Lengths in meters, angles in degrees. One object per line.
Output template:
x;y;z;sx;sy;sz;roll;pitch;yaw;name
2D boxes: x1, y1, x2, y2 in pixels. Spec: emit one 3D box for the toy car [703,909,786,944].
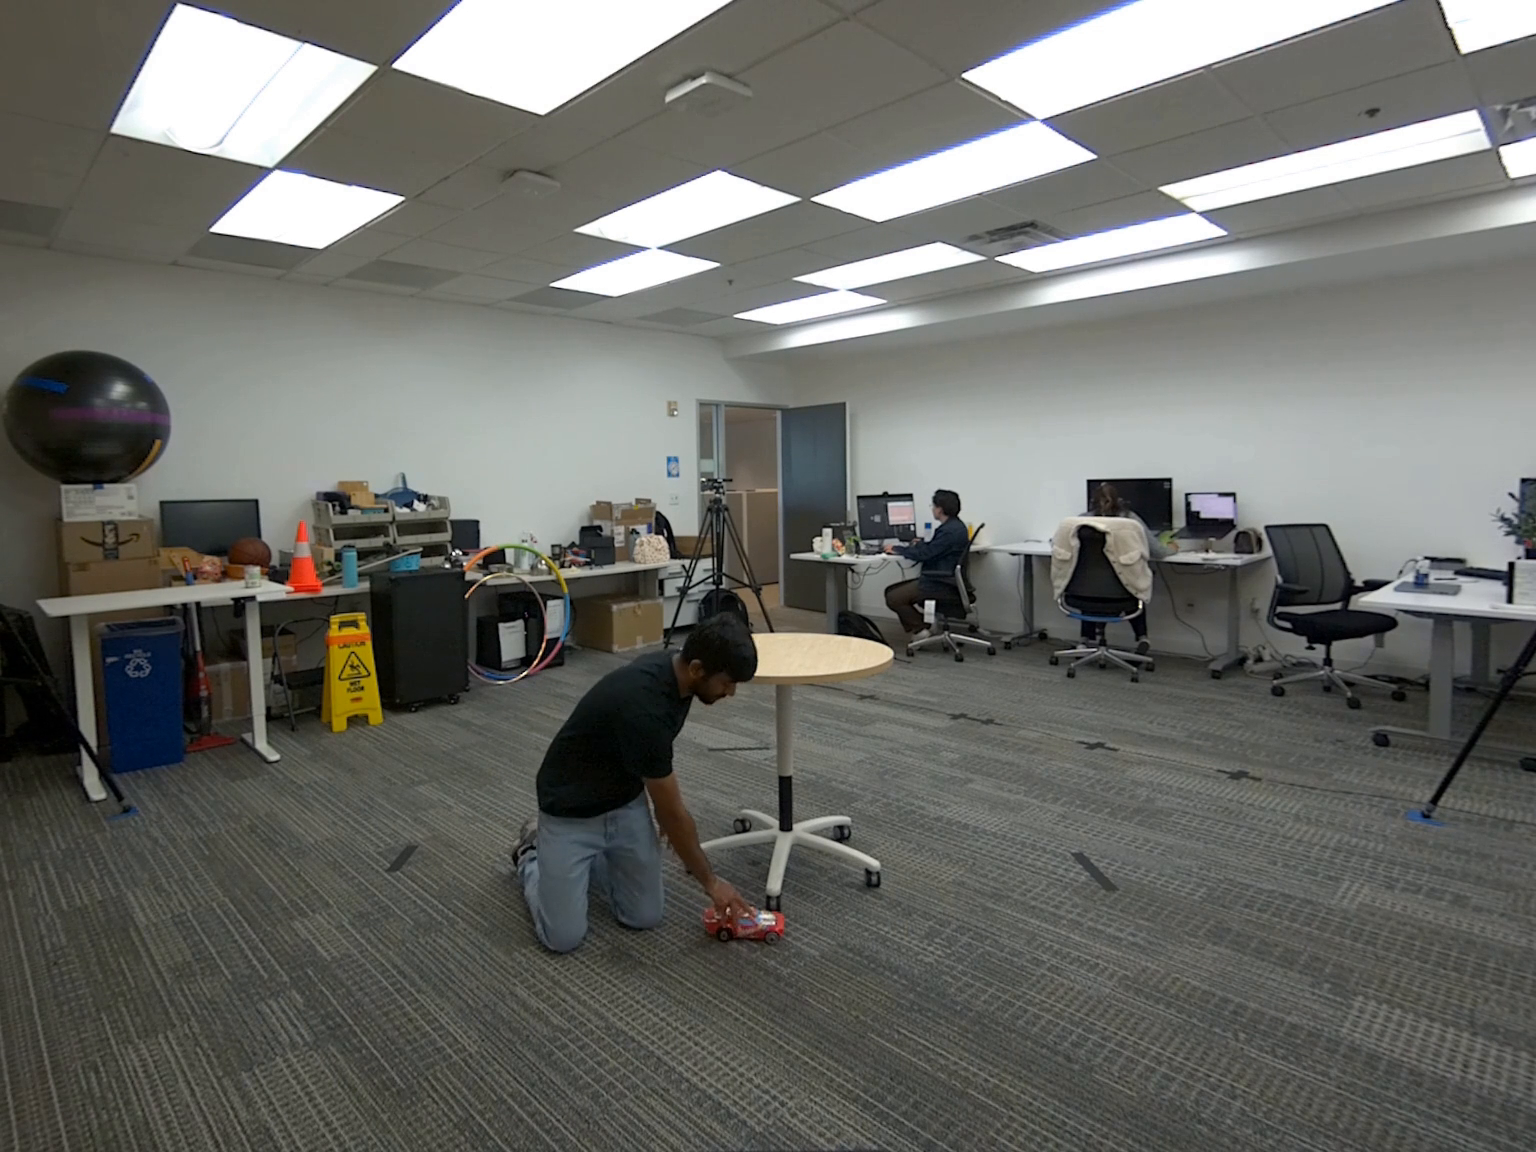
-0.080;1.066;2.628;0.257;0.083;0.130;10;9;7;toy car
